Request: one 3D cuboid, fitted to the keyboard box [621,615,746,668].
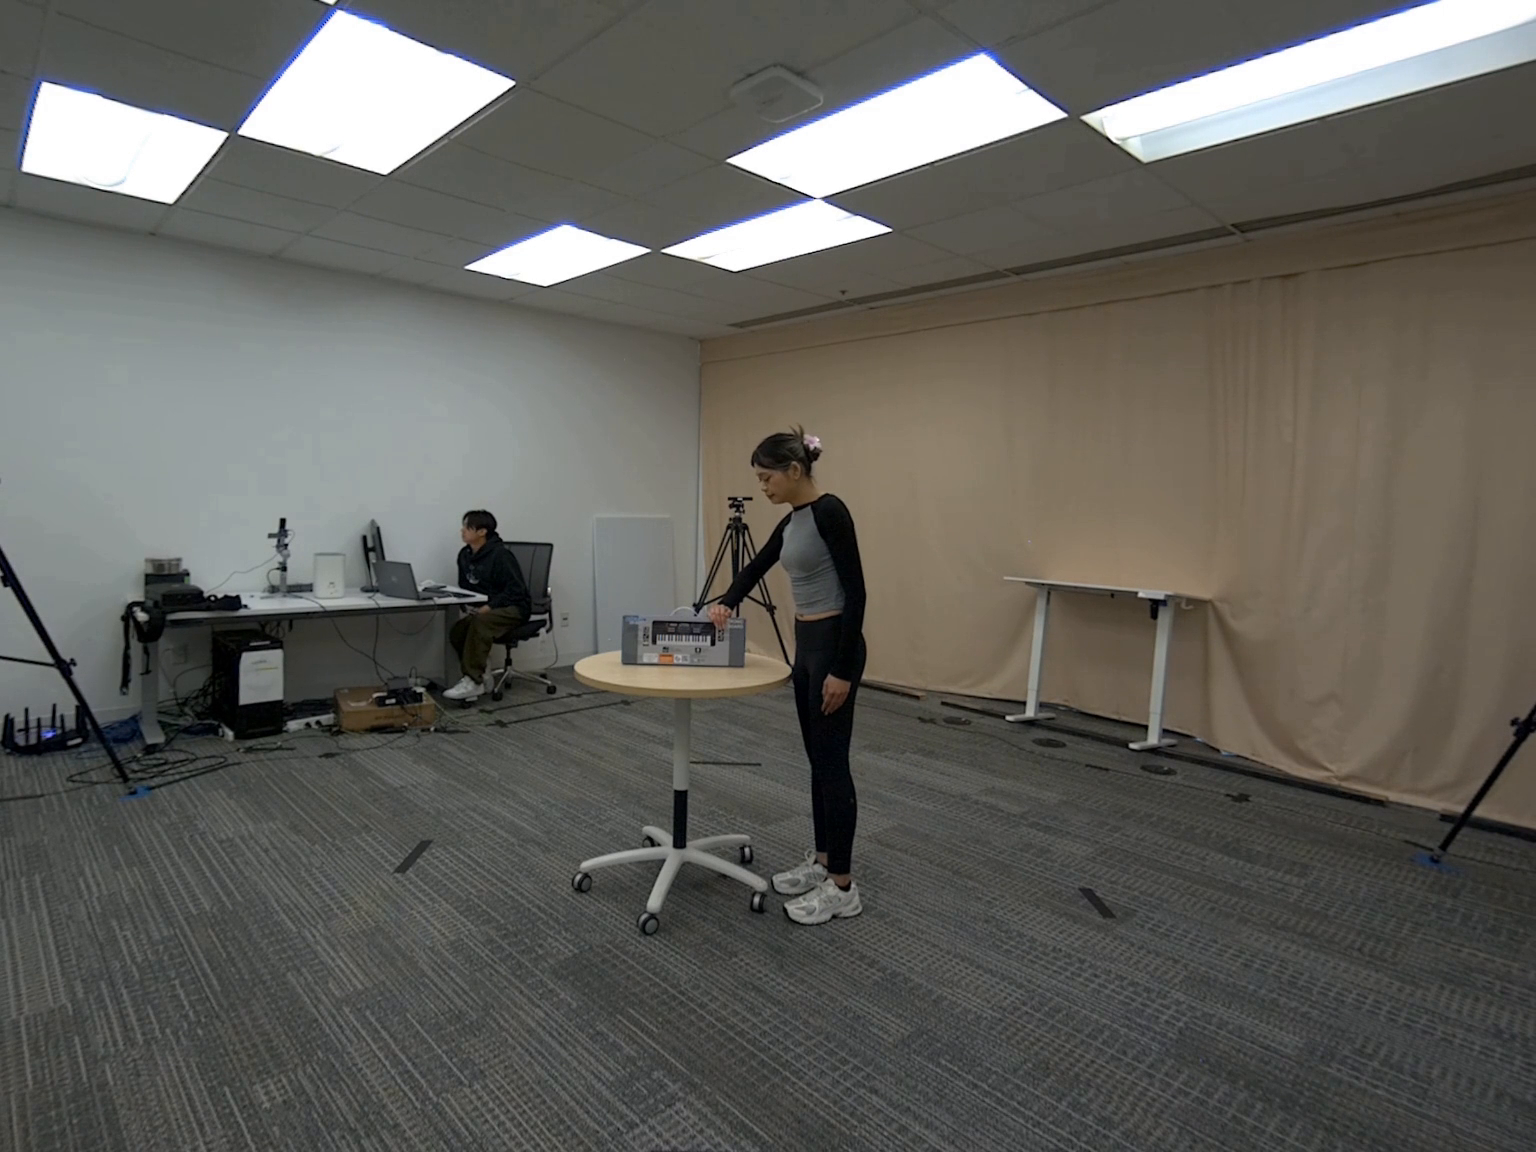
[{"bbox_3d":[-0.305,0.230,3.012,0.436,0.176,0.059,1,0,-1],"label":"keyboard box"}]
